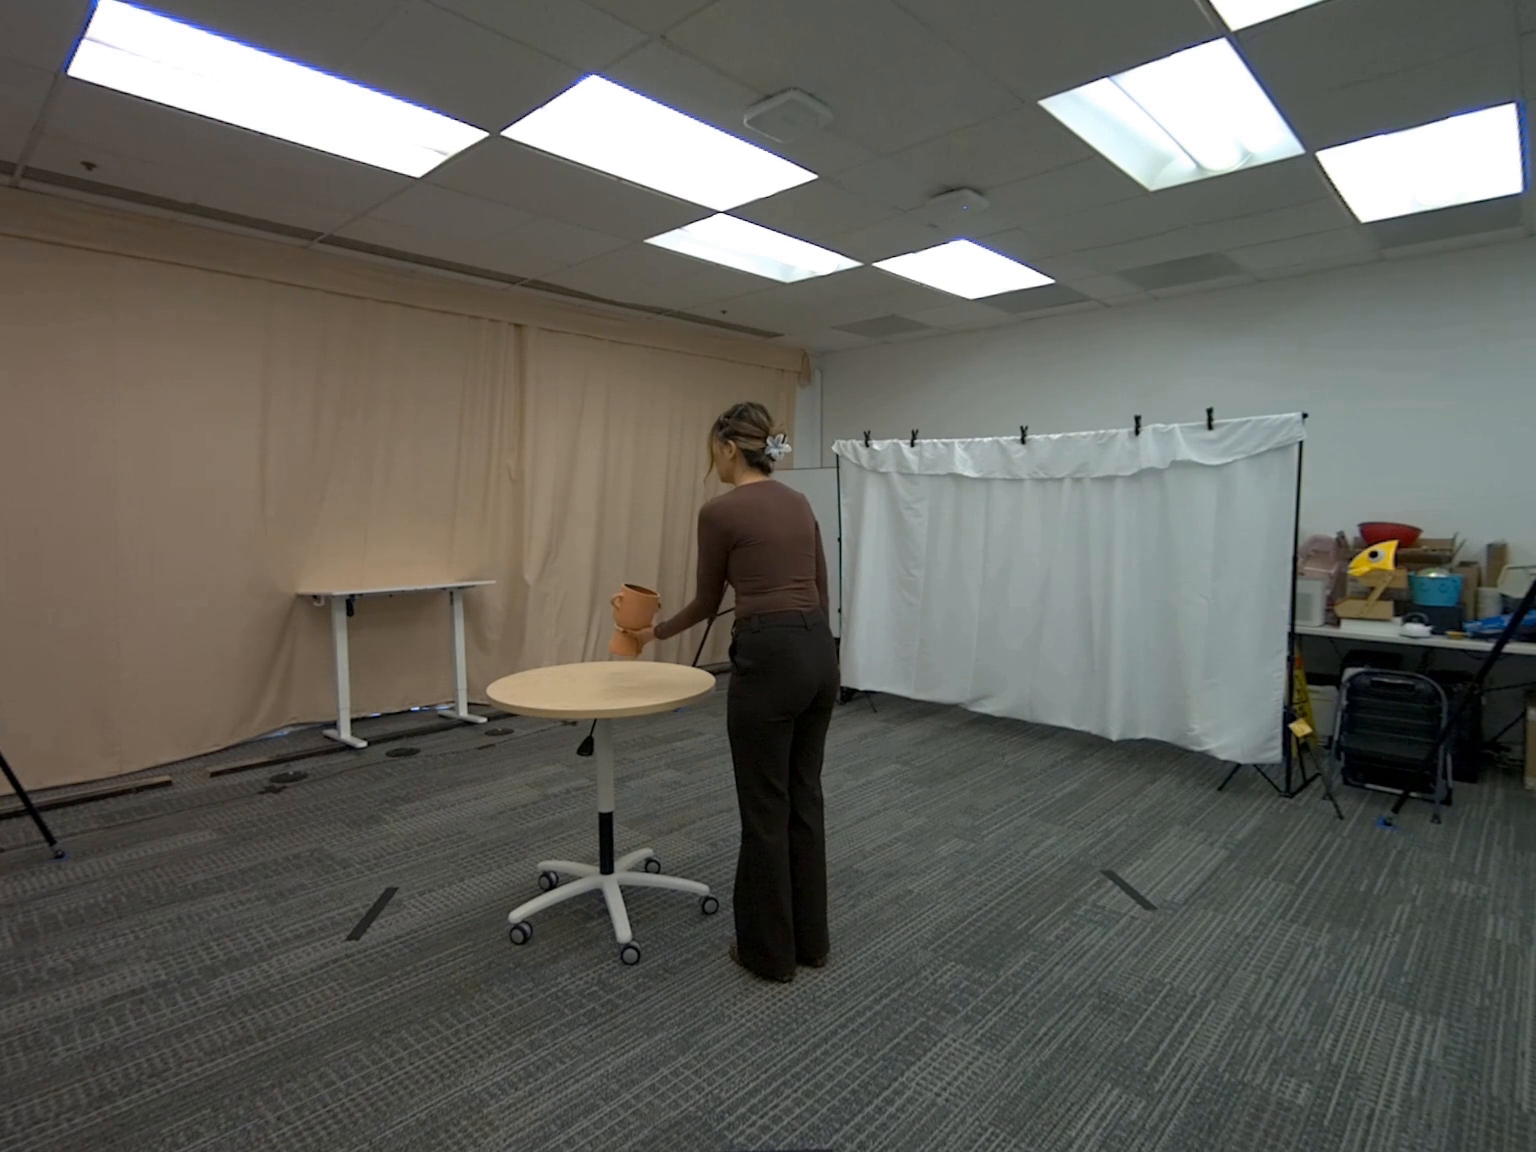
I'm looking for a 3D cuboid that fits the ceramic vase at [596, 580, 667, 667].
[{"bbox_3d":[-0.443,0.150,2.754,0.158,0.219,0.135,16,9,-3],"label":"ceramic vase"}]
